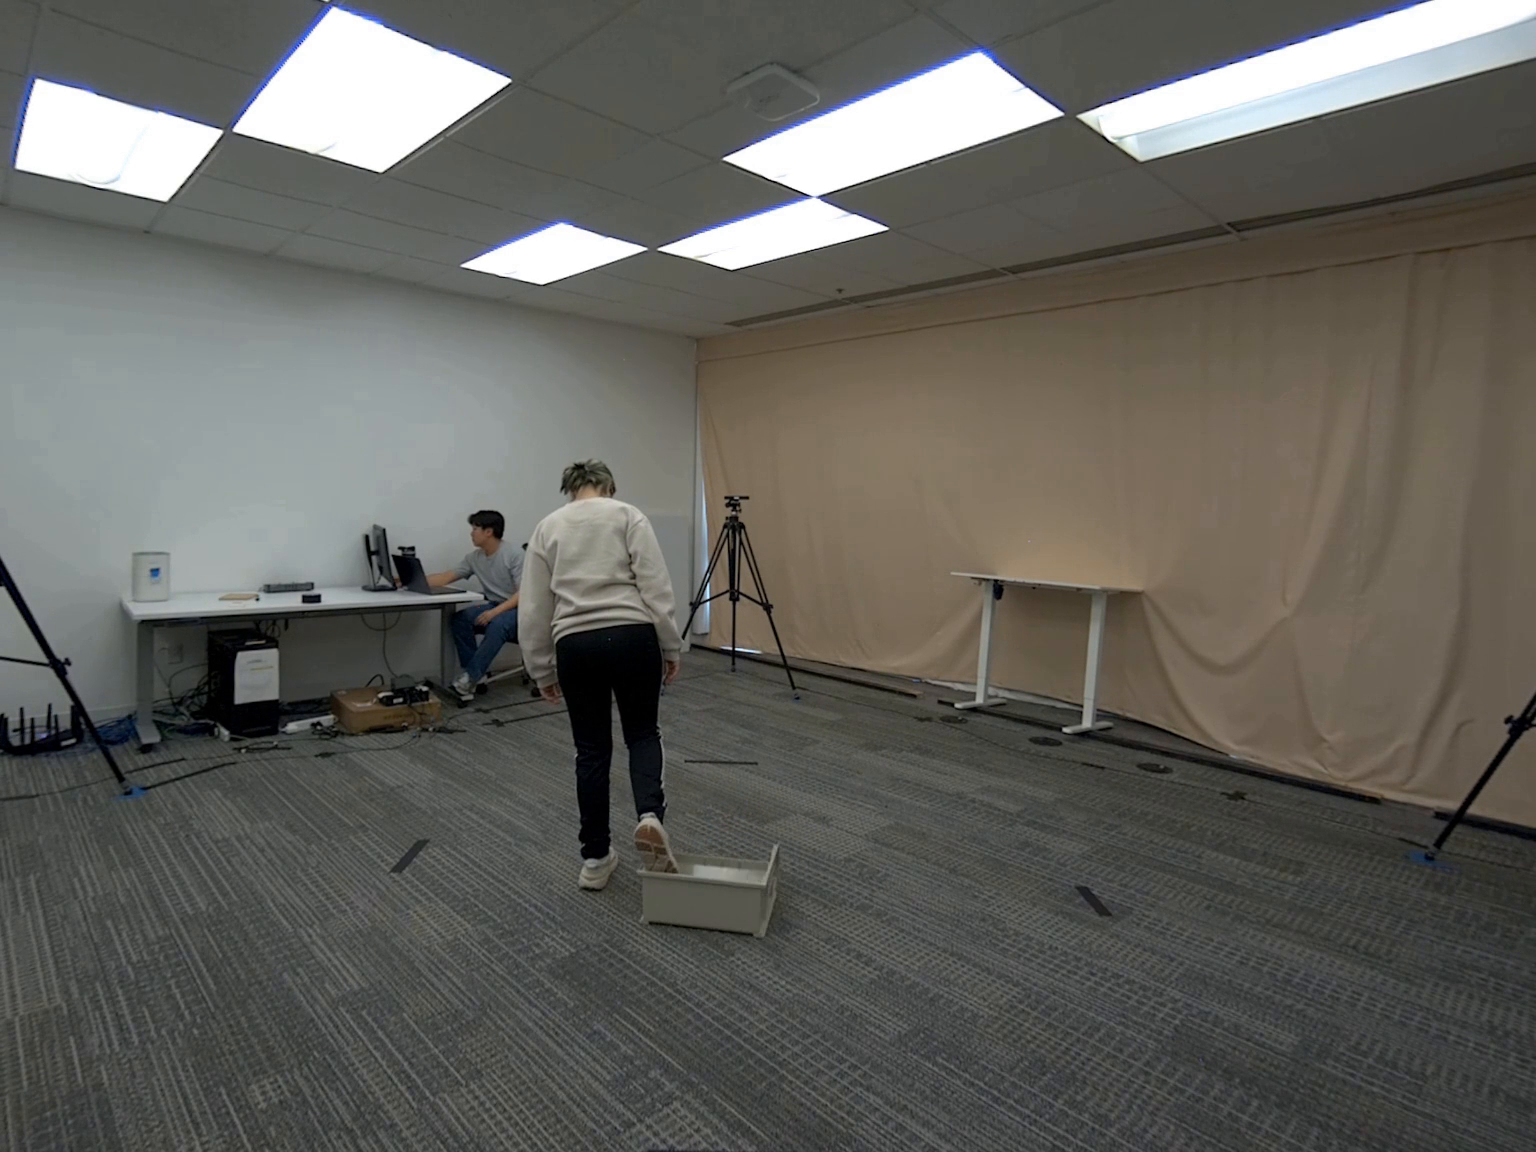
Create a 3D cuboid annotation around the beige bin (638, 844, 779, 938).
[{"bbox_3d":[-0.193,1.035,2.862,0.426,0.188,0.375,1,5,10],"label":"beige bin"}]
